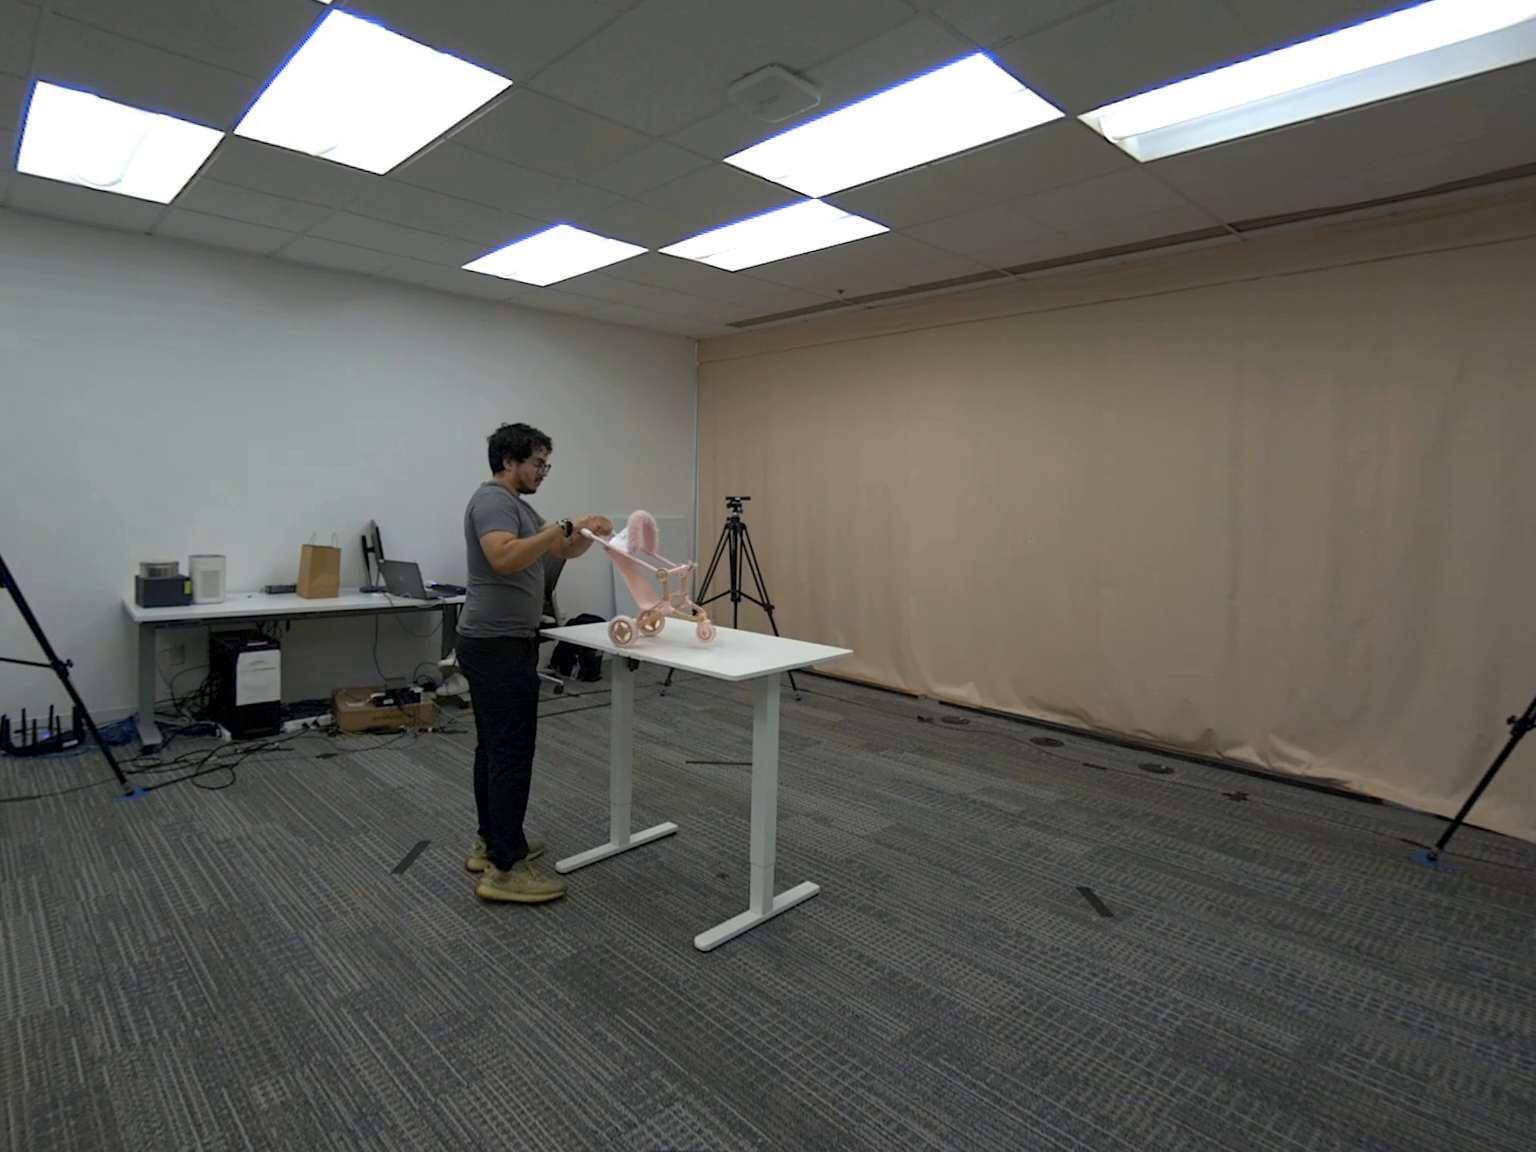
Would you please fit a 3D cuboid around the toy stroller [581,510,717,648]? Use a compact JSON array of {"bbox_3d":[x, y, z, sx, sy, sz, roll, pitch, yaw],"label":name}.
[{"bbox_3d":[-0.410,0.010,2.907,0.345,0.536,0.278,-19,-3,20],"label":"toy stroller"}]
